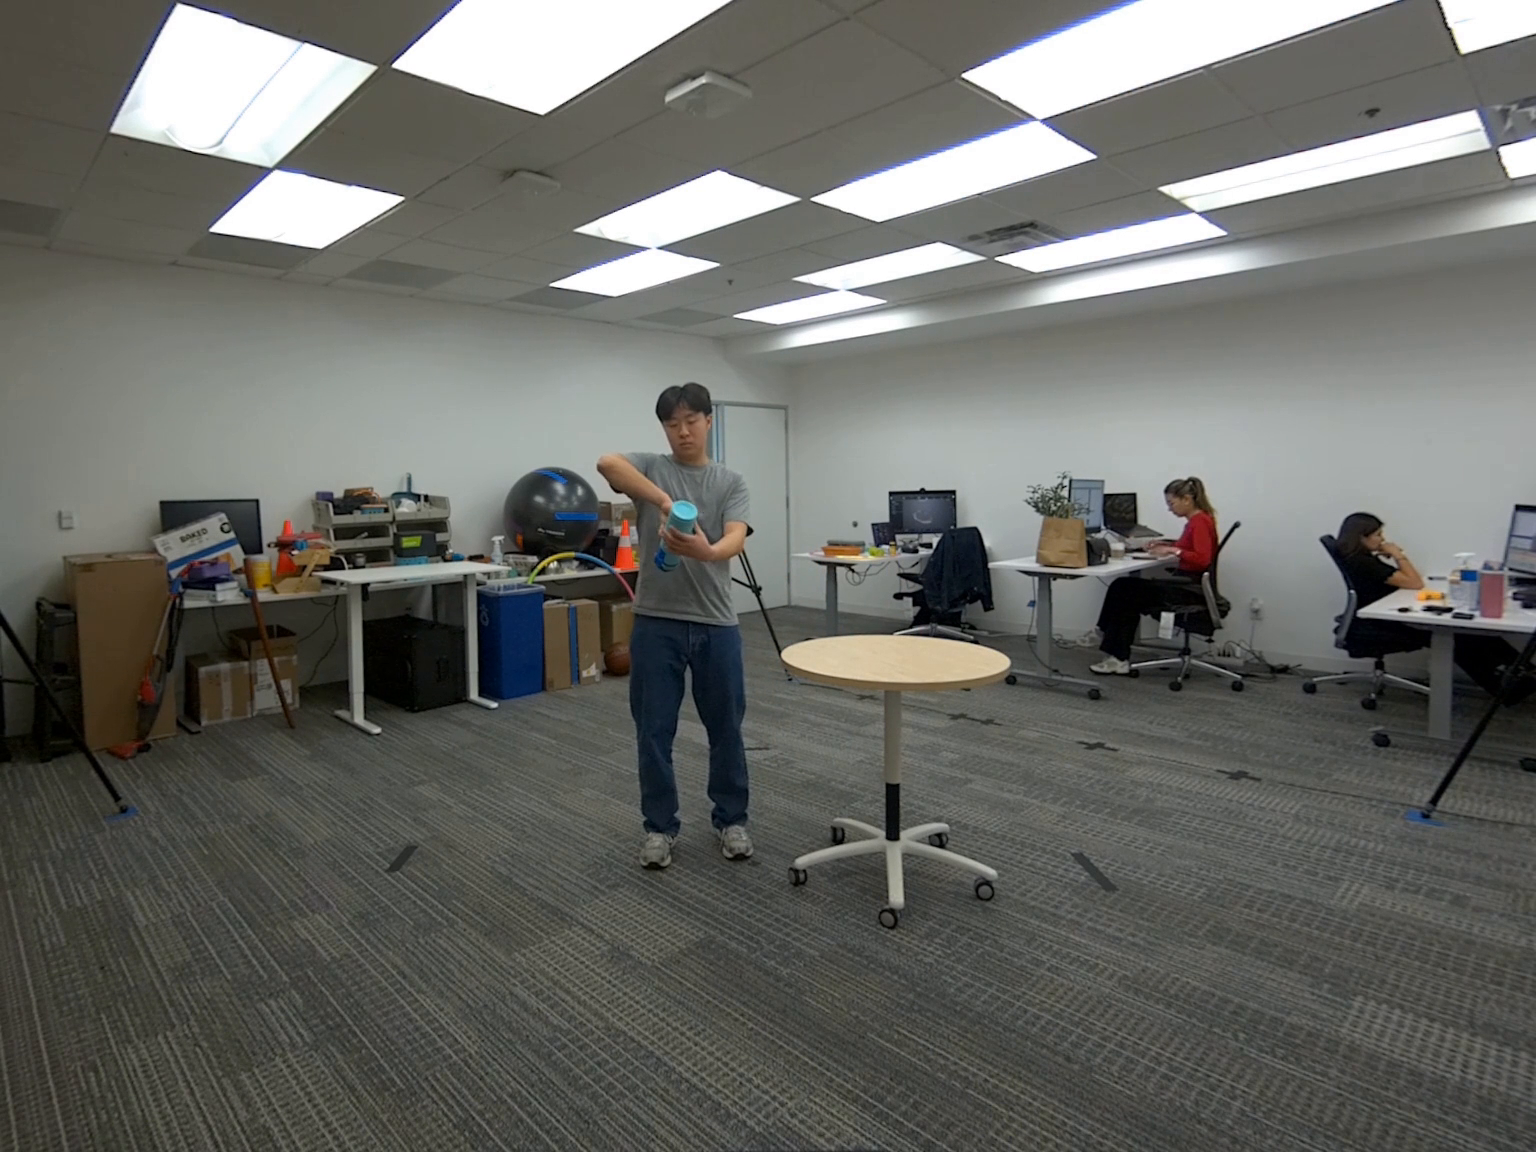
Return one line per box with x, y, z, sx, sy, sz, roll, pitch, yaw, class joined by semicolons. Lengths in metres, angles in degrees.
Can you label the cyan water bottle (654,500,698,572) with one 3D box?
-0.311;-0.119;2.866;0.091;0.095;0.279;10;-44;-12;cyan water bottle
